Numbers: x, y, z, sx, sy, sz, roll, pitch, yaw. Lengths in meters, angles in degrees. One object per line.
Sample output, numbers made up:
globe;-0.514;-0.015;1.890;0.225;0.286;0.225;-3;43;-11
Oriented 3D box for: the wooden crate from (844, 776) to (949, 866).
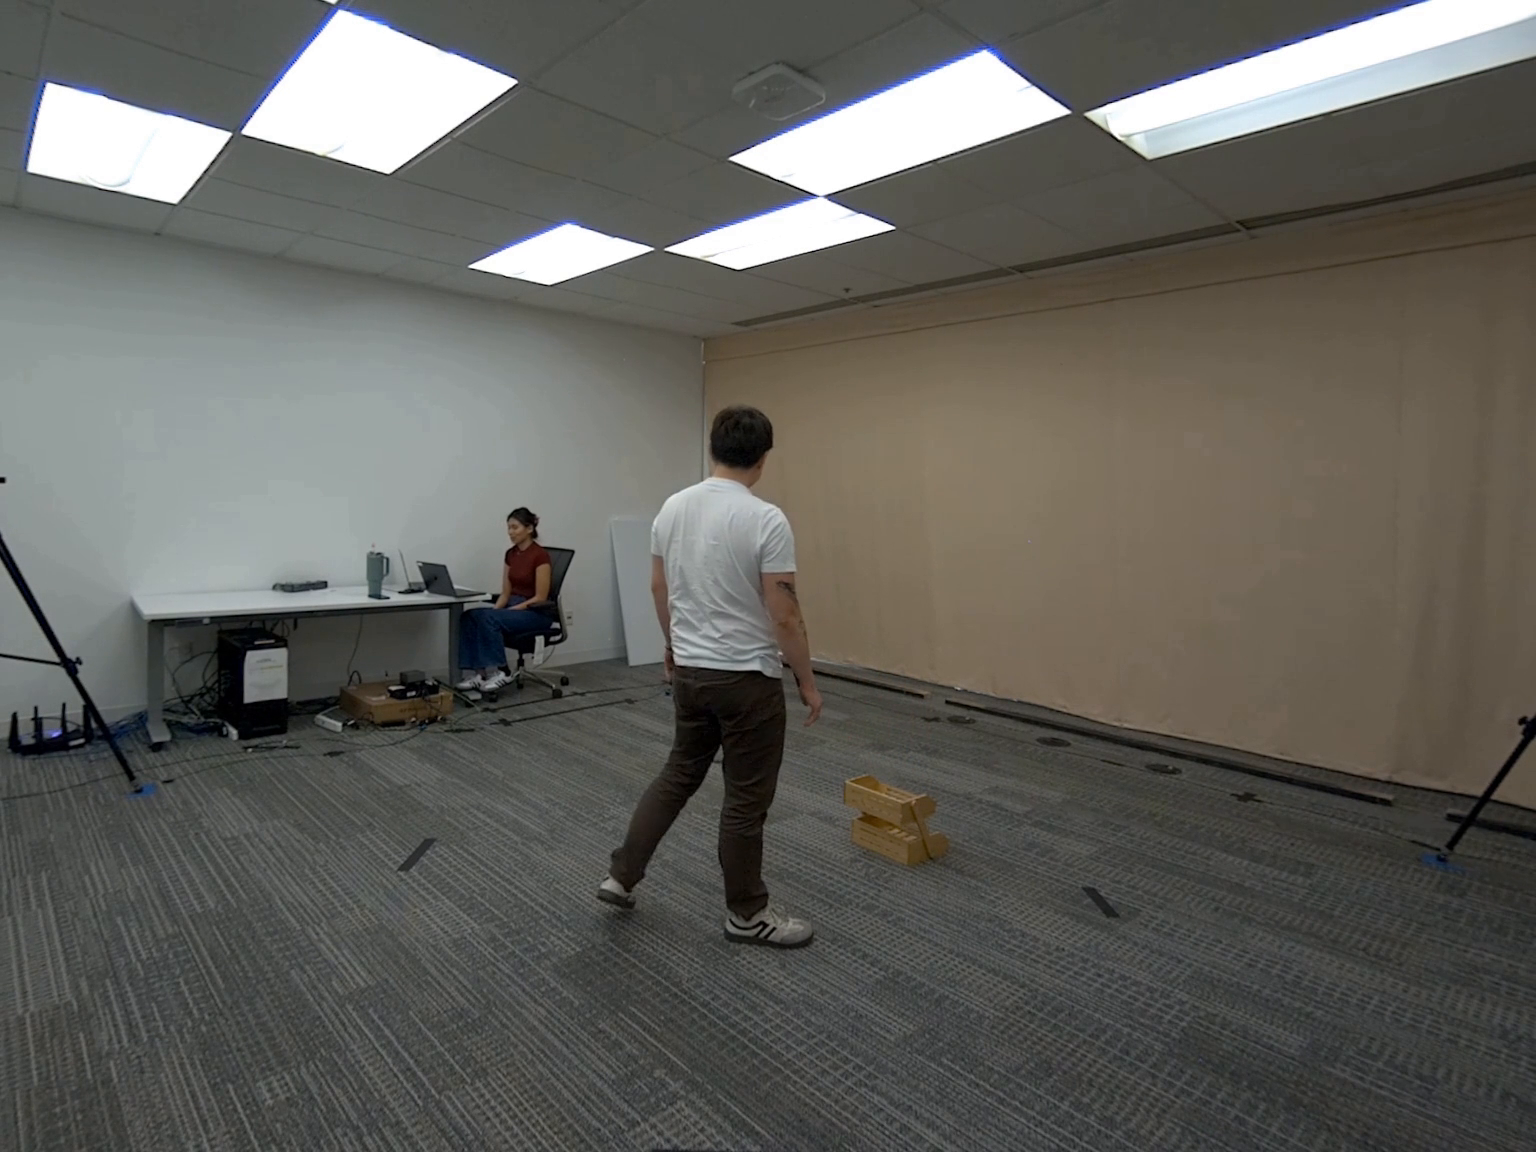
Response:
wooden crate;0.511;0.960;3.382;0.295;0.272;0.333;-3;6;-40
